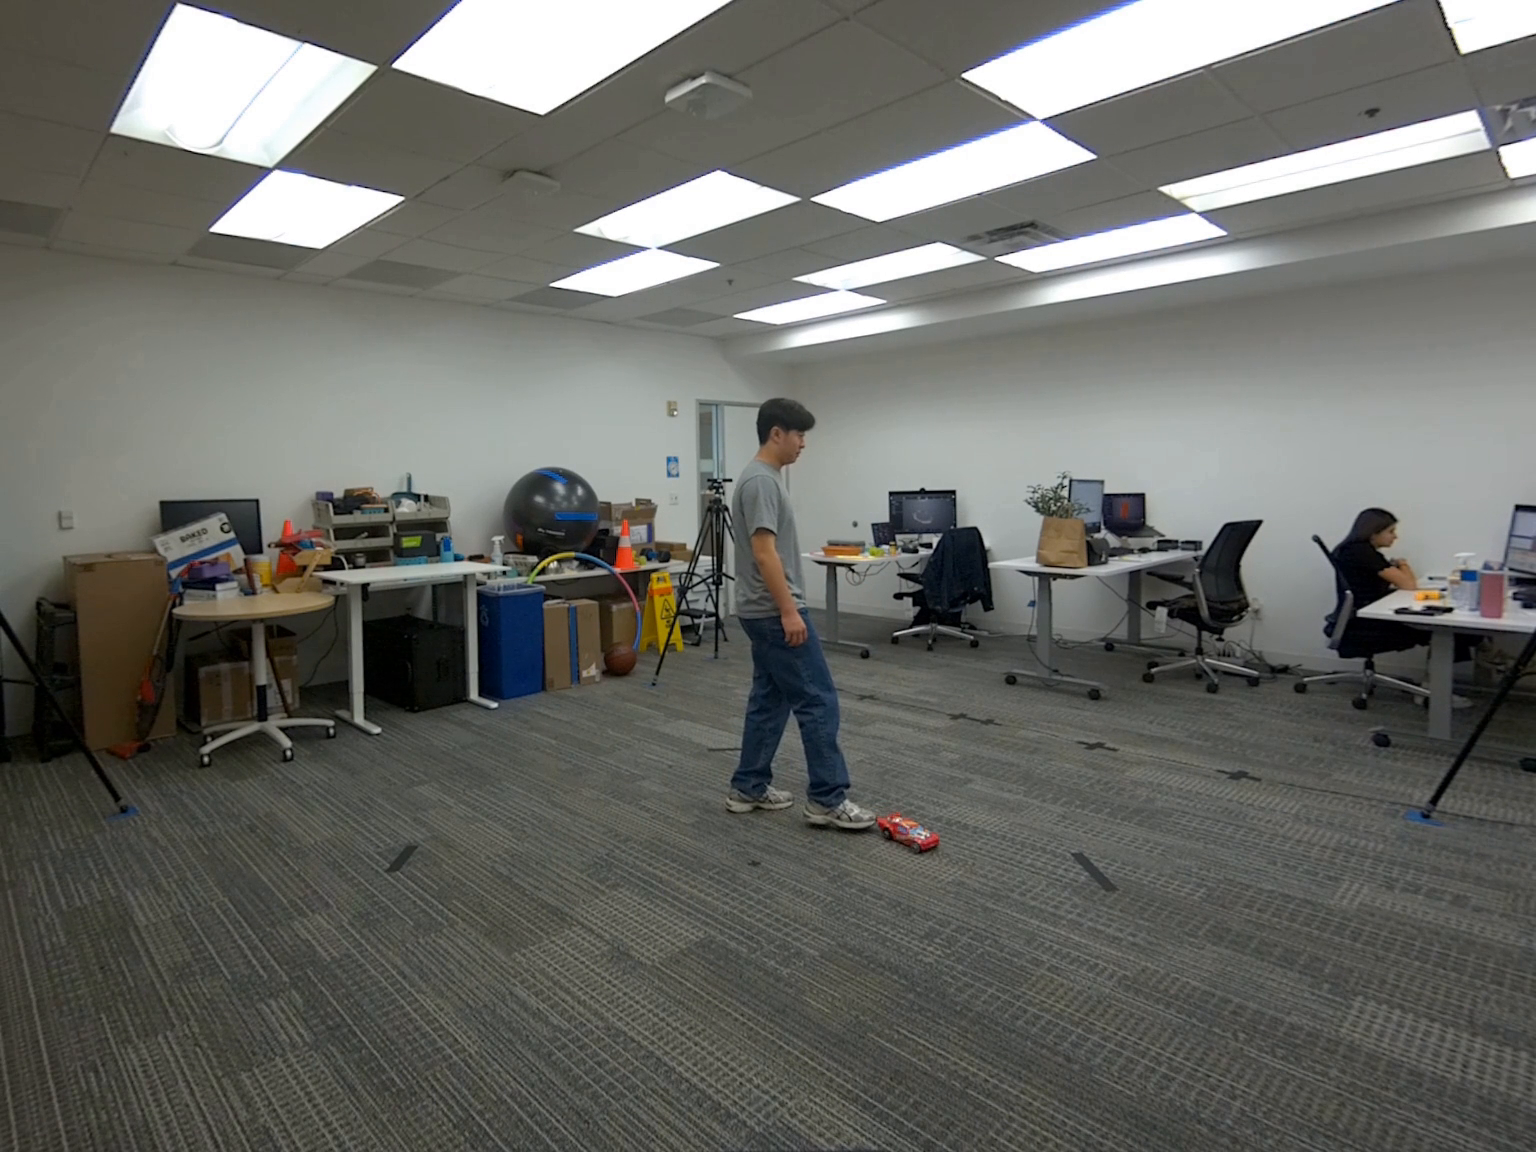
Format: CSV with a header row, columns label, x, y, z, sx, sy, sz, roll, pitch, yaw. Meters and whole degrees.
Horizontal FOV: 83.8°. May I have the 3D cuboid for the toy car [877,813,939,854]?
label,x,y,z,sx,sy,sz,roll,pitch,yaw
toy car,0.535,0.981,3.279,0.127,0.082,0.264,-5,18,-35
